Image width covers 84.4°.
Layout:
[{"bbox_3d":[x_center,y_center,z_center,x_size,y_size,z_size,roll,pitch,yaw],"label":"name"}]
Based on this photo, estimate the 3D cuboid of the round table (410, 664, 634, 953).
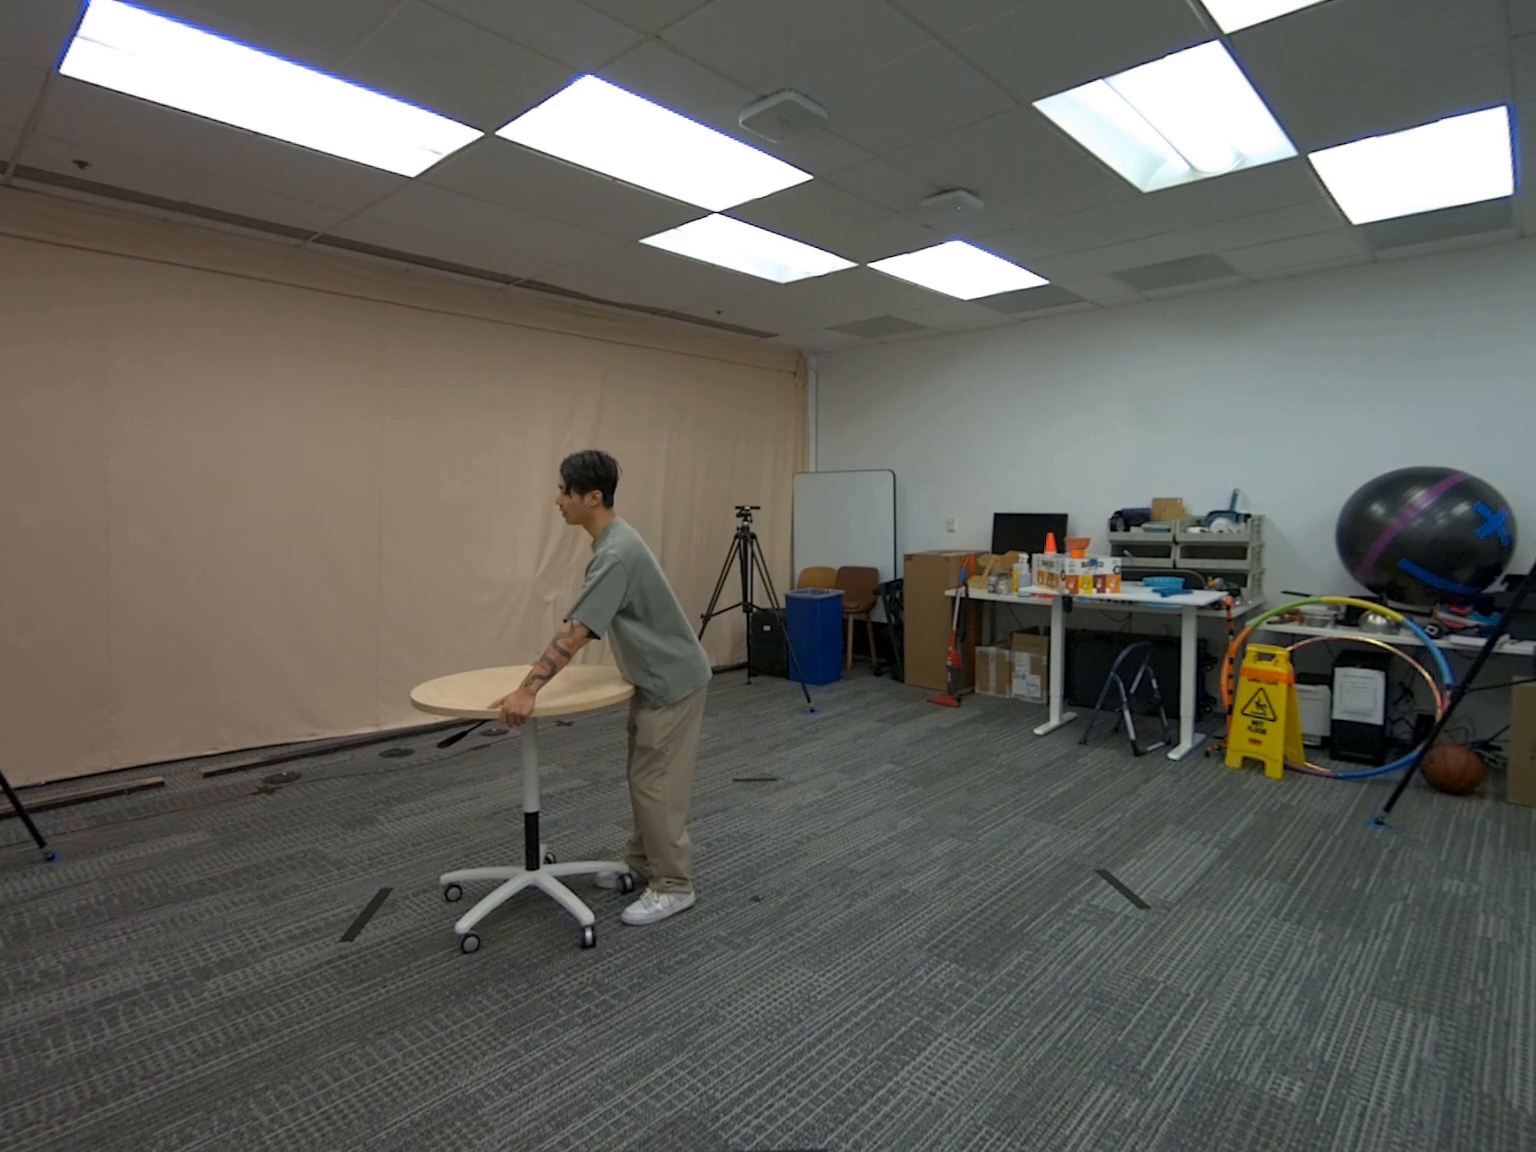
[{"bbox_3d":[-0.816,0.765,2.924,0.784,0.785,0.788,-1,4,-2],"label":"round table"}]
